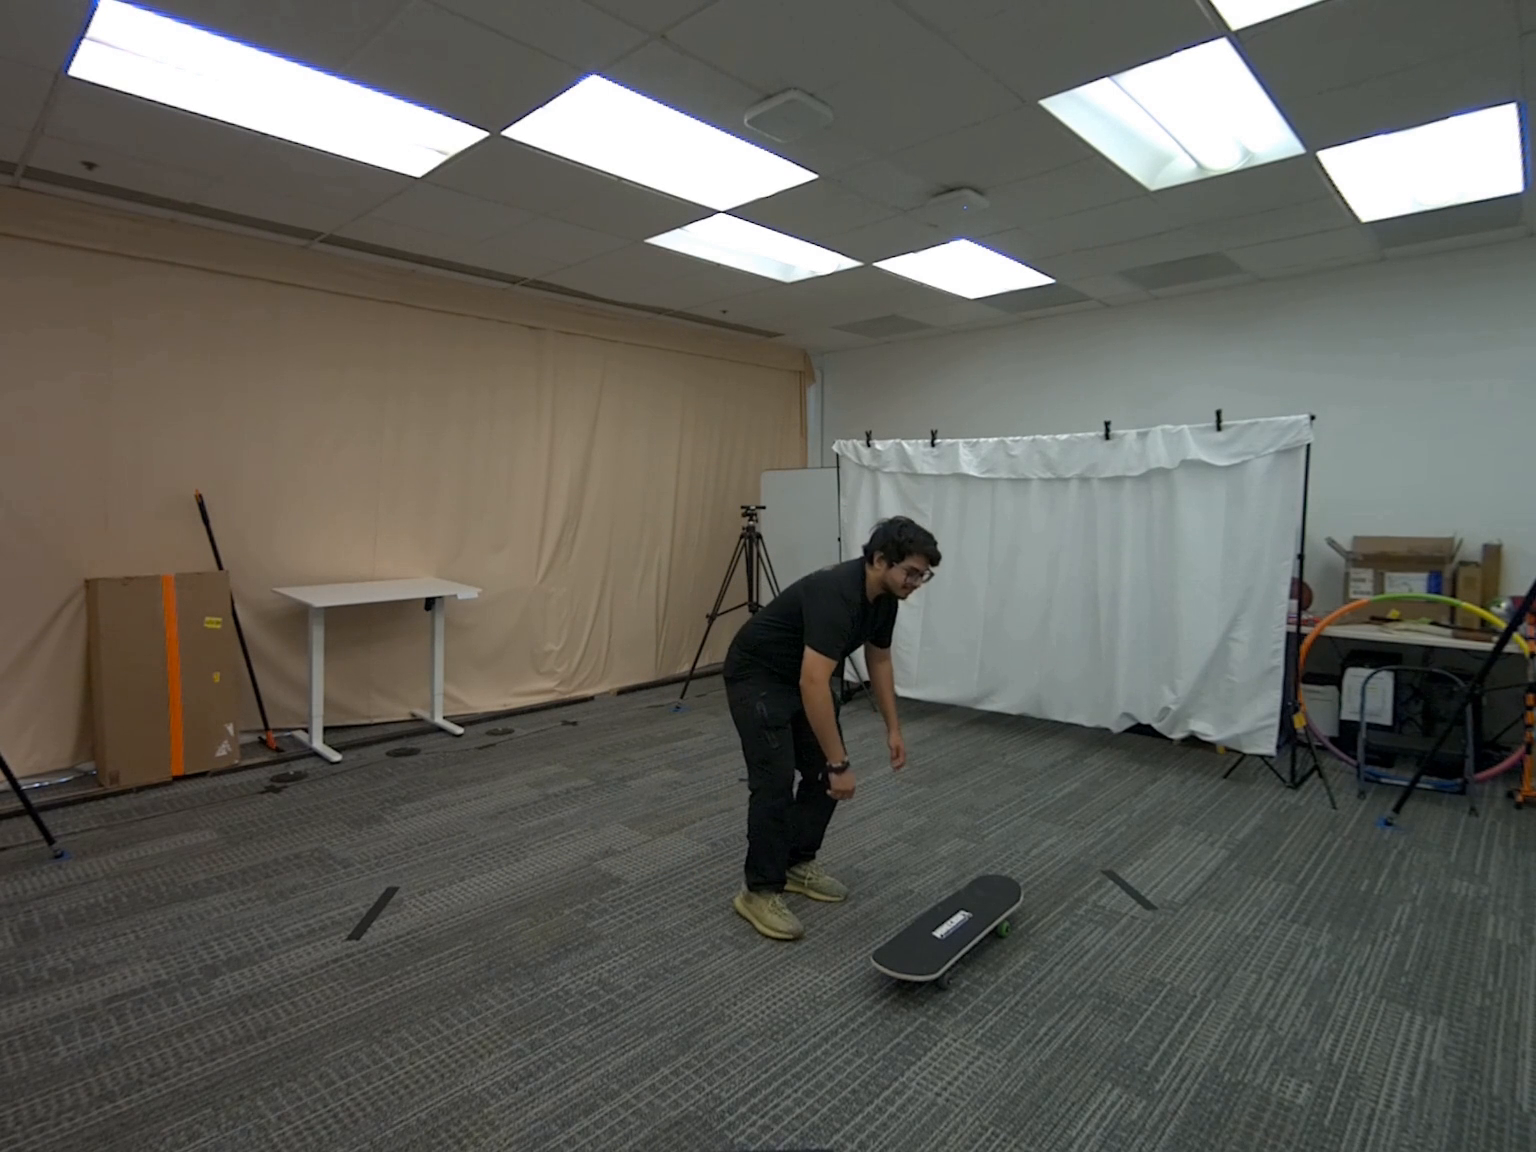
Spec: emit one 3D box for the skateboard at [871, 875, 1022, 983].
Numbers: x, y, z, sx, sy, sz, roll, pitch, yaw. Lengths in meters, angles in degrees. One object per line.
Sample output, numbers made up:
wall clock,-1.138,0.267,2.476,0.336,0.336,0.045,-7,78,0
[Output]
skateboard,0.586,1.122,2.618,0.200,0.110,0.762,4,7,39
